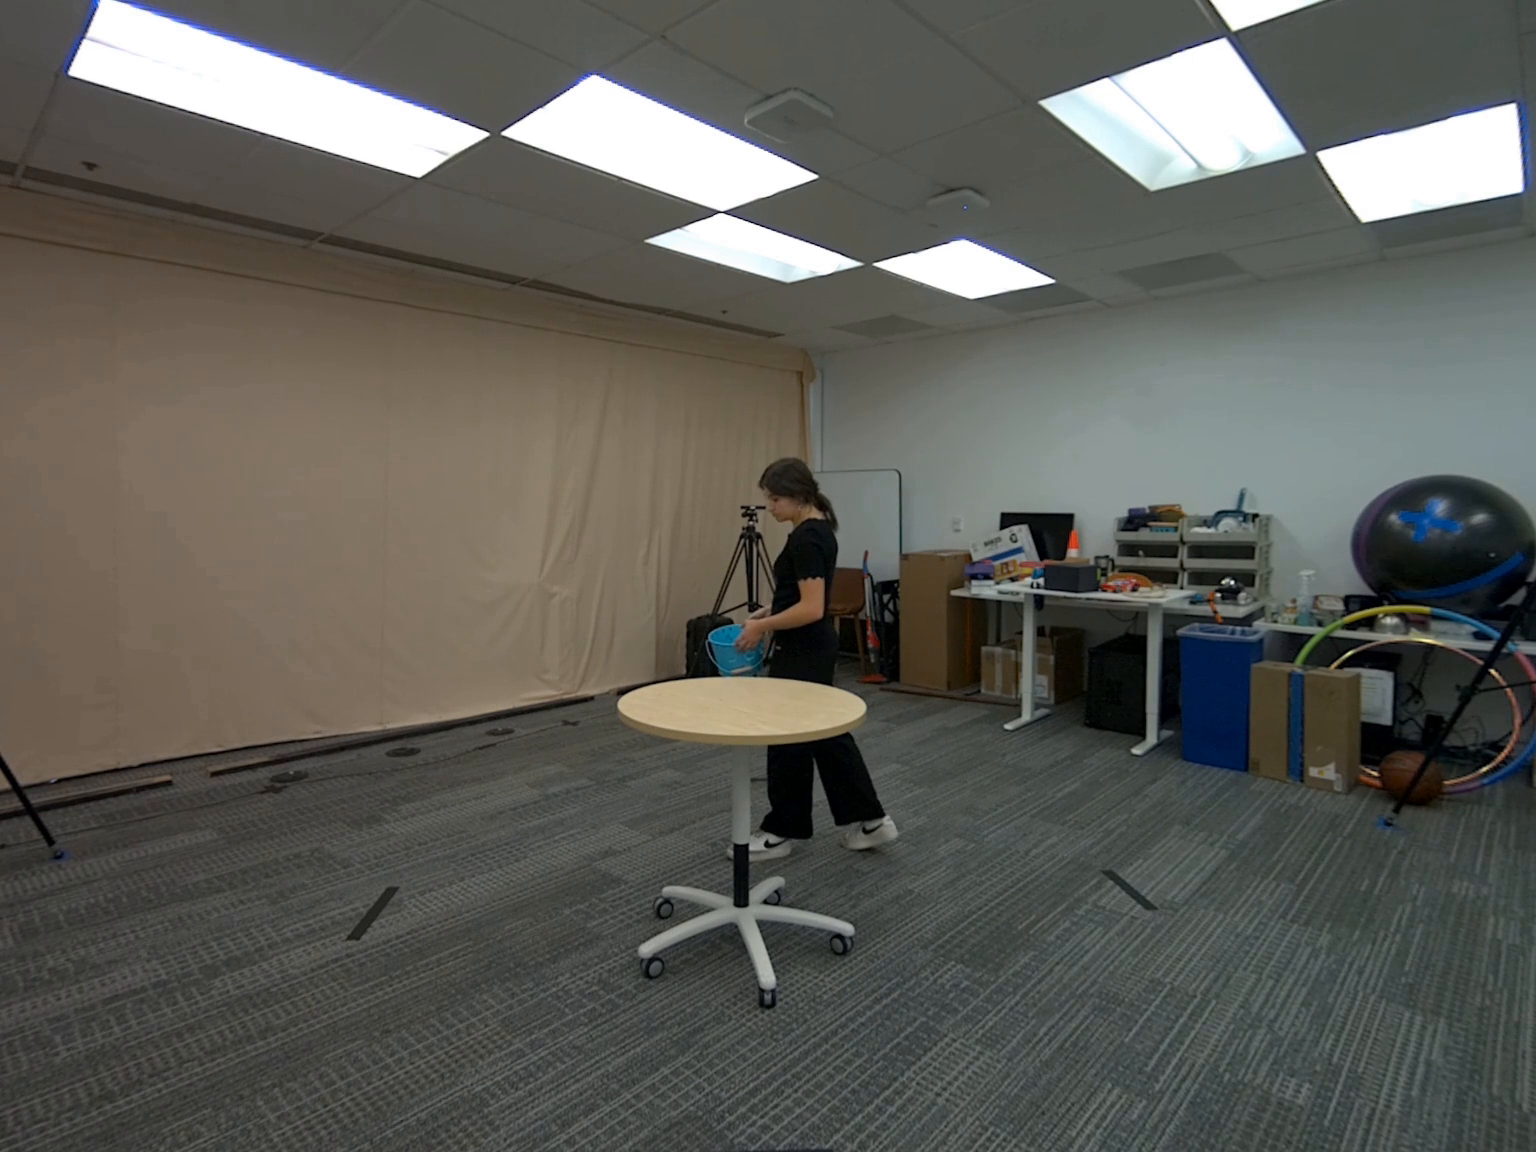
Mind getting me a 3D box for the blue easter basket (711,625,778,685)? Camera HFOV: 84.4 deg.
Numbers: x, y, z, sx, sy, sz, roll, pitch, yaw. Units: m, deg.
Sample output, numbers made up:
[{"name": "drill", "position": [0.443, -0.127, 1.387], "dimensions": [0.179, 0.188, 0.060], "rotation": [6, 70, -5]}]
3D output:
[{"name": "blue easter basket", "position": [-0.101, 0.306, 3.389], "dimensions": [0.244, 0.154, 0.246], "rotation": [-5, 13, -1]}]
